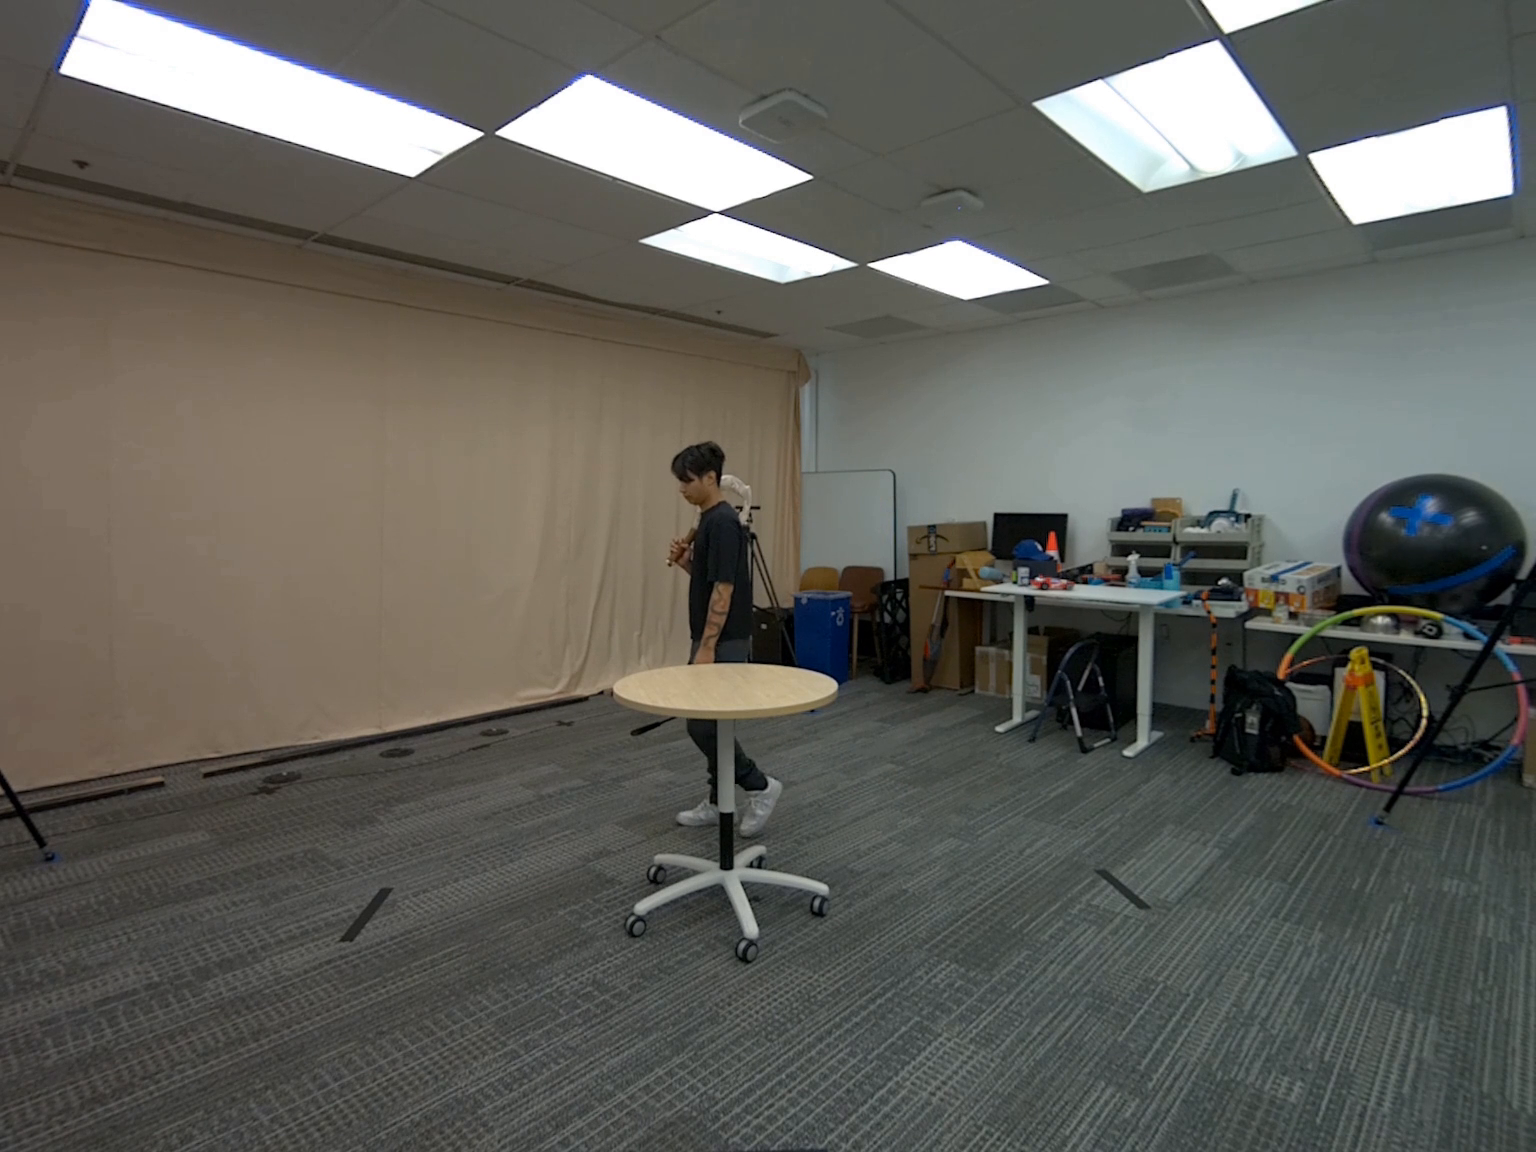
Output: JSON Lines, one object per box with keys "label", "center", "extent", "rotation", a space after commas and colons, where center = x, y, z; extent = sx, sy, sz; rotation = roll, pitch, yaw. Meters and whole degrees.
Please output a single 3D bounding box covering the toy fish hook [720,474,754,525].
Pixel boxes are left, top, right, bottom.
{"label": "toy fish hook", "center": [-0.250, -0.219, 3.731], "extent": [0.226, 0.506, 0.048], "rotation": [33, -12, 6]}
